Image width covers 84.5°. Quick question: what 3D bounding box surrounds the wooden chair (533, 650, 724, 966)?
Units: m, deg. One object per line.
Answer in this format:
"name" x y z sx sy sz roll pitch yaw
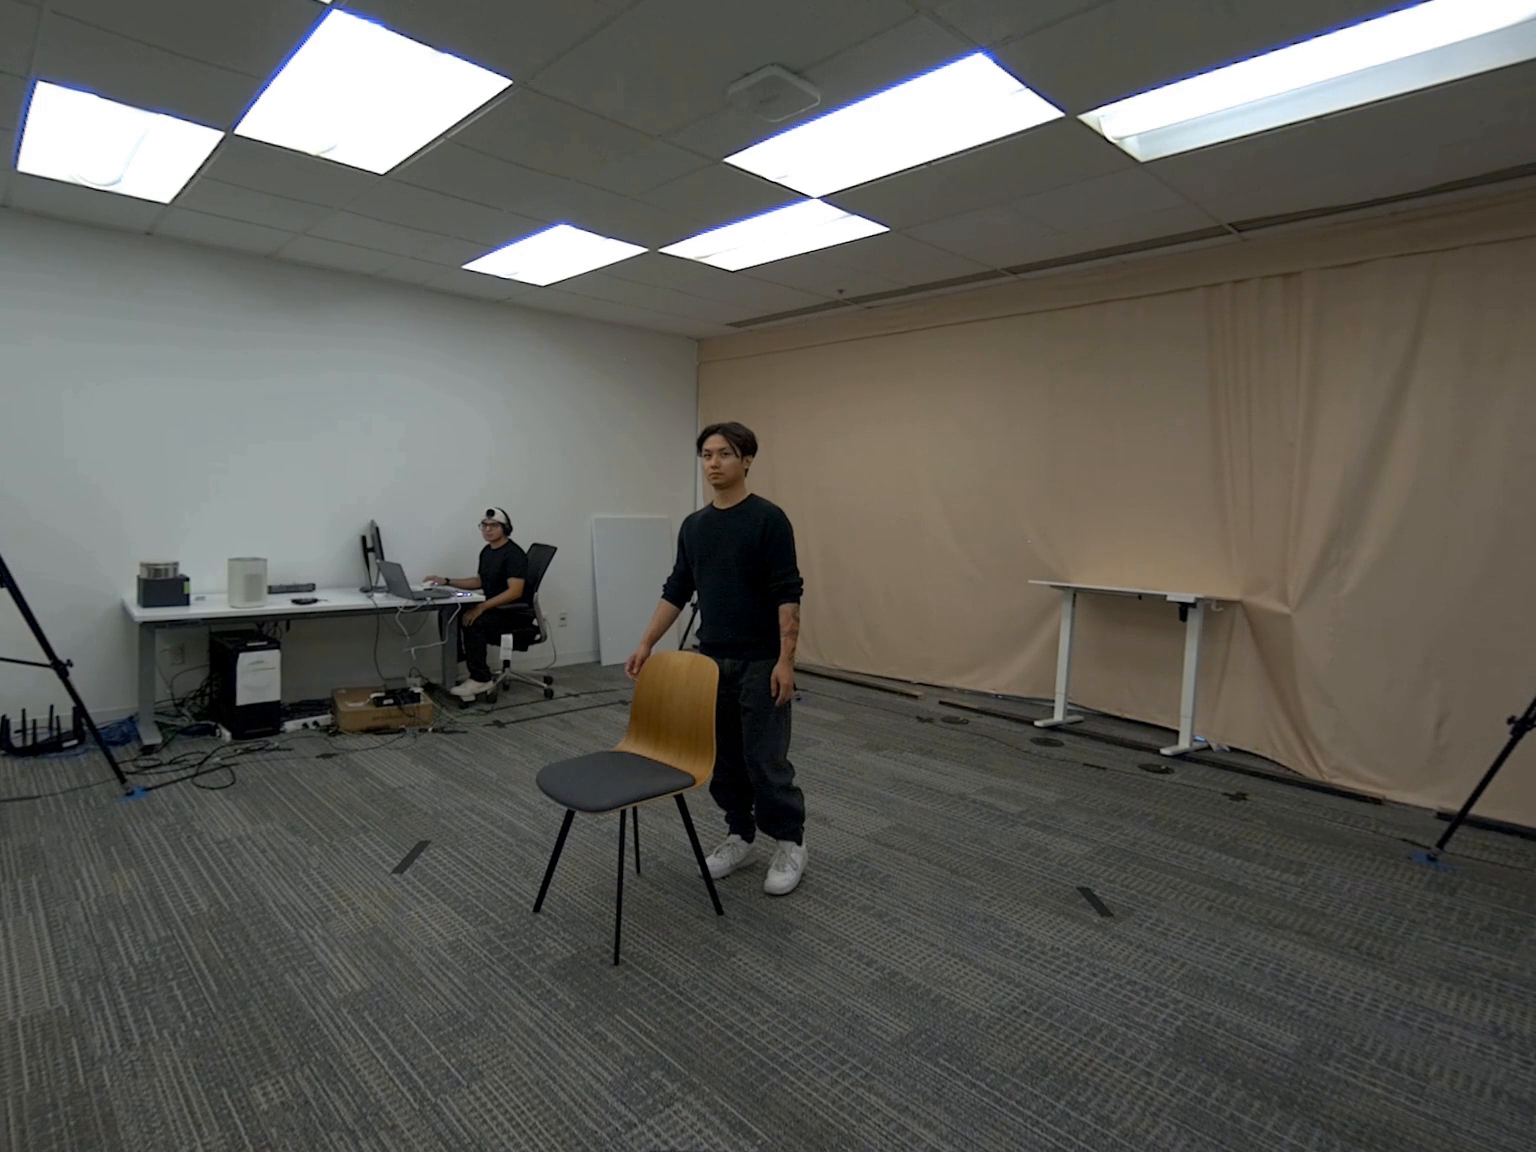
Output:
"wooden chair" -0.462 0.705 2.764 0.490 0.877 0.510 5 0 43
